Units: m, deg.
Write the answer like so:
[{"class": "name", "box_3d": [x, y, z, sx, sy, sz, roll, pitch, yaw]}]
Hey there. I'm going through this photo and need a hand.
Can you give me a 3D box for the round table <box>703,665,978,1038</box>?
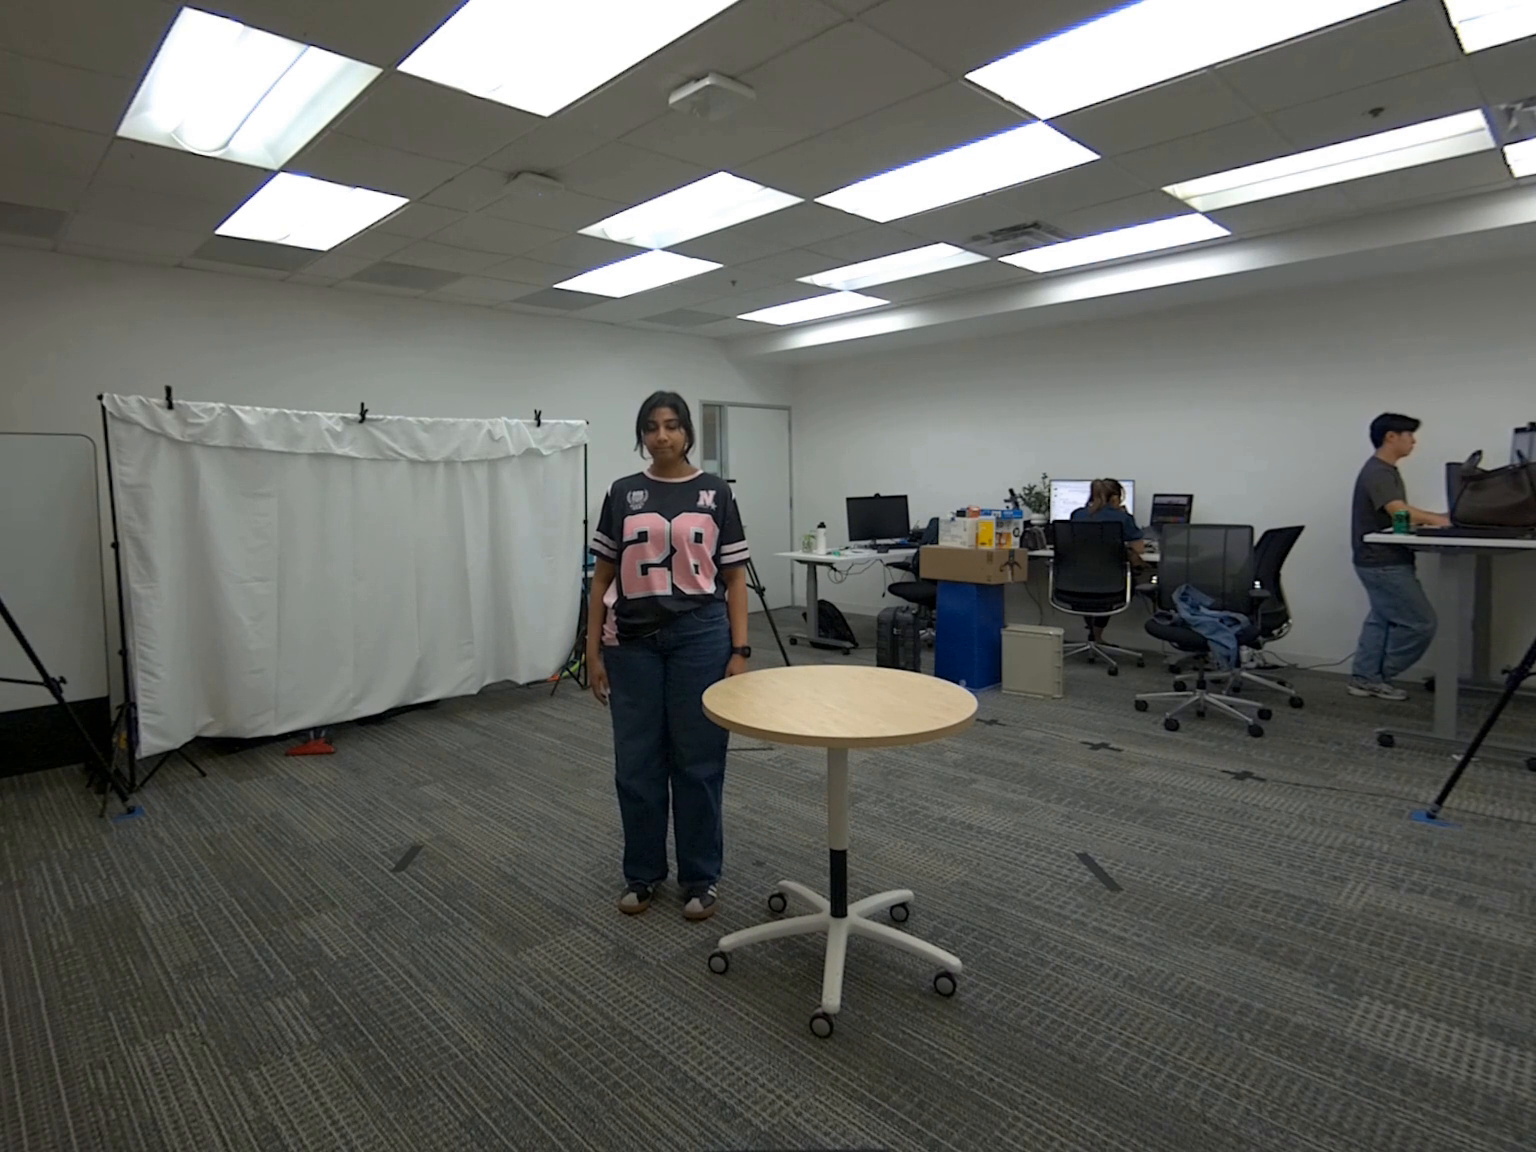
[{"class": "round table", "box_3d": [0.191, 0.726, 2.447, 0.784, 0.783, 0.789, 0, 5, -2]}]
